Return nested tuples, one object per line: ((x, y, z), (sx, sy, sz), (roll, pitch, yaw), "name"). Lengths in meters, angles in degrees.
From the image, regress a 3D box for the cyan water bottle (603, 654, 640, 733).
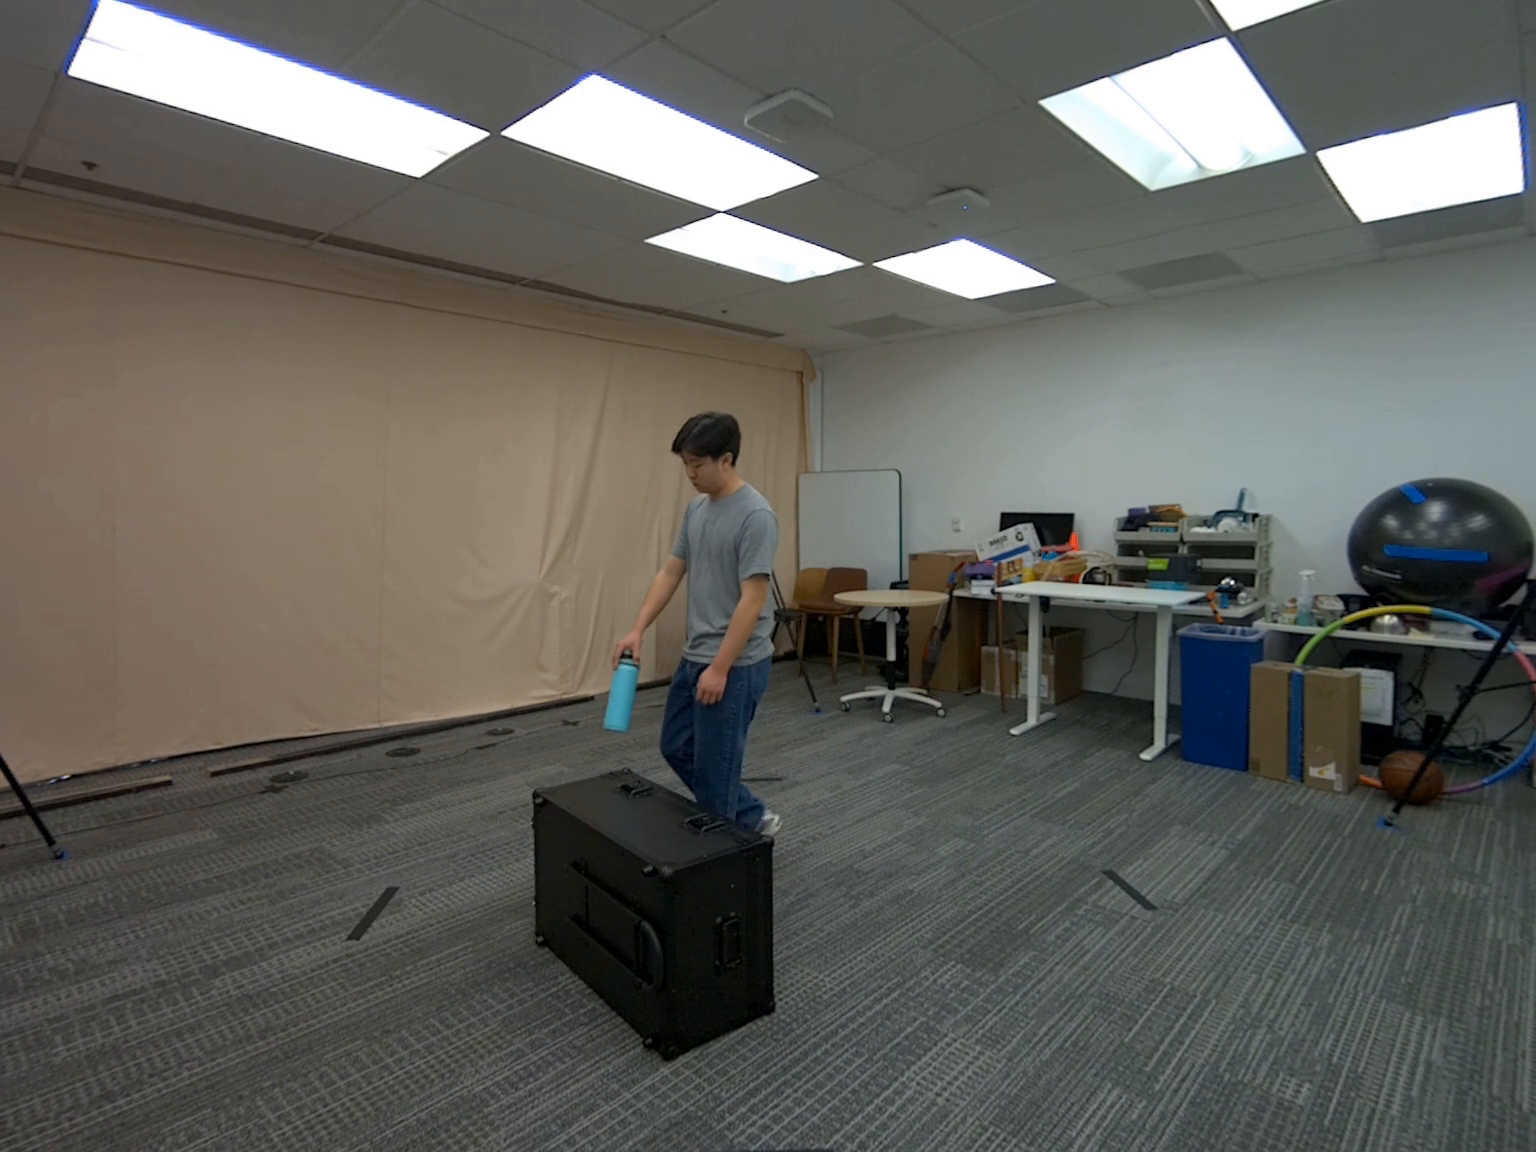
((-0.498, 0.419, 3.000), (0.092, 0.285, 0.092), (10, -11, 0), "cyan water bottle")
